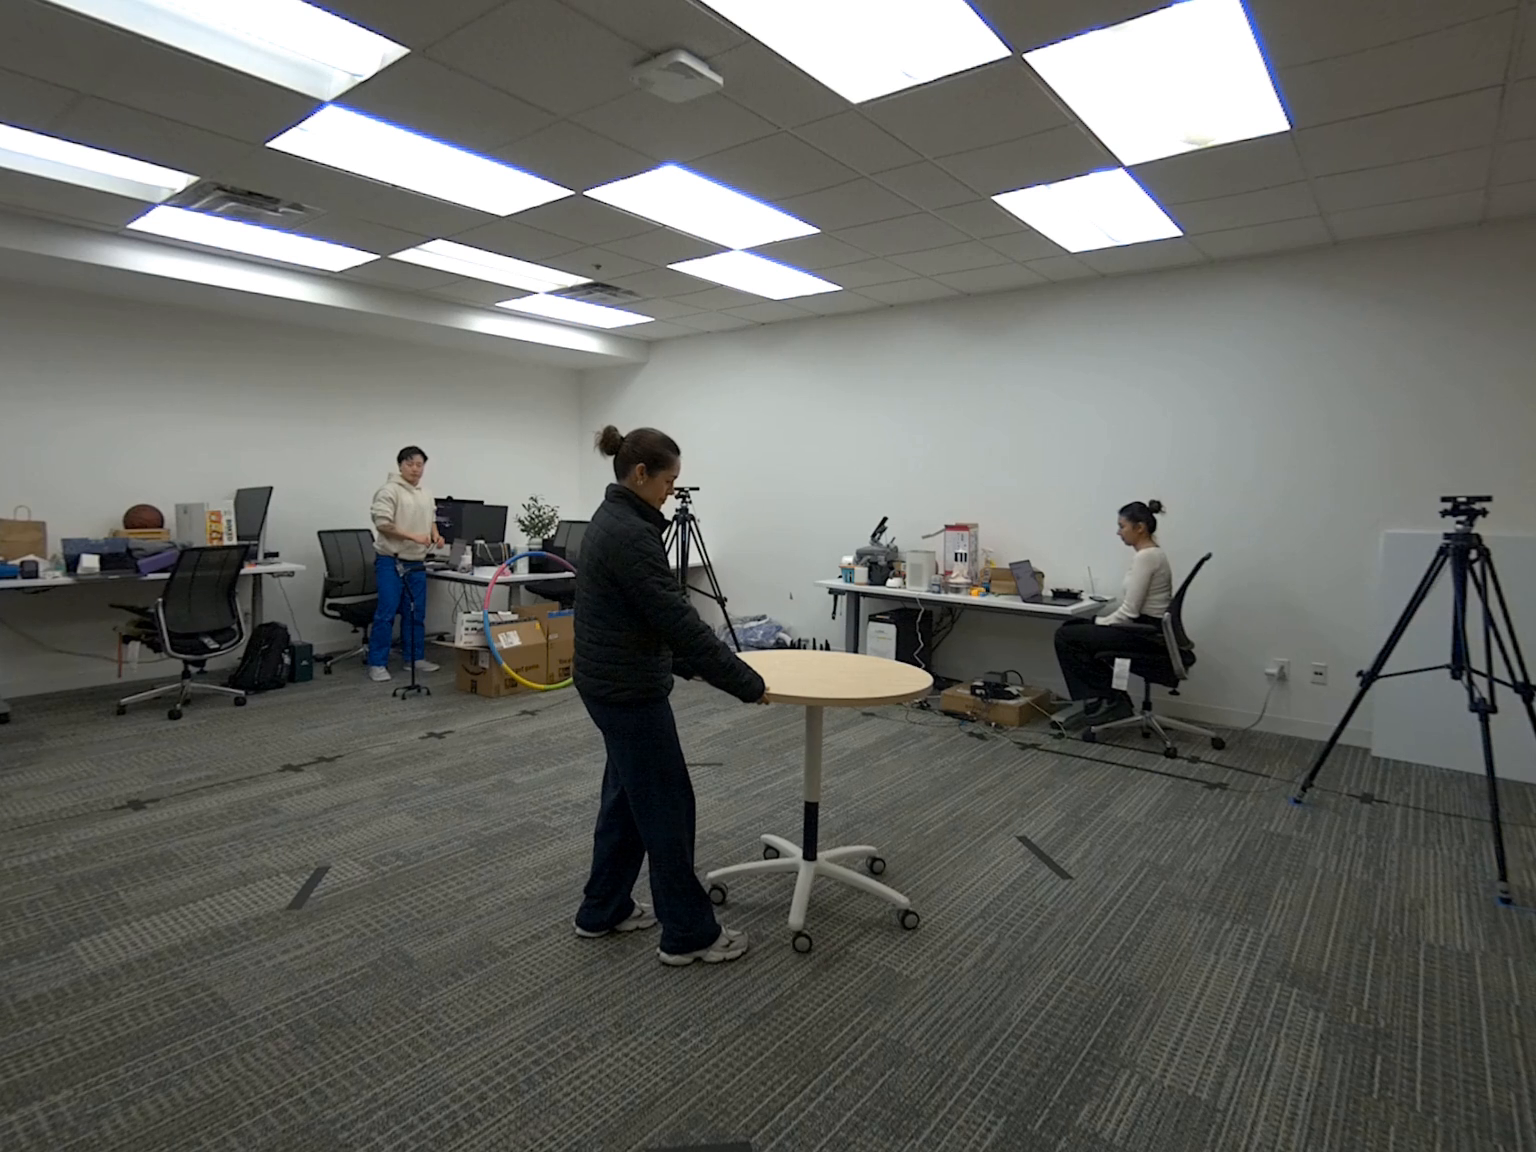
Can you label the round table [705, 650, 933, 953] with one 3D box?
[{"bbox_3d":[0.156,0.703,2.884,0.784,0.784,0.789,1,4,-2],"label":"round table"}]
